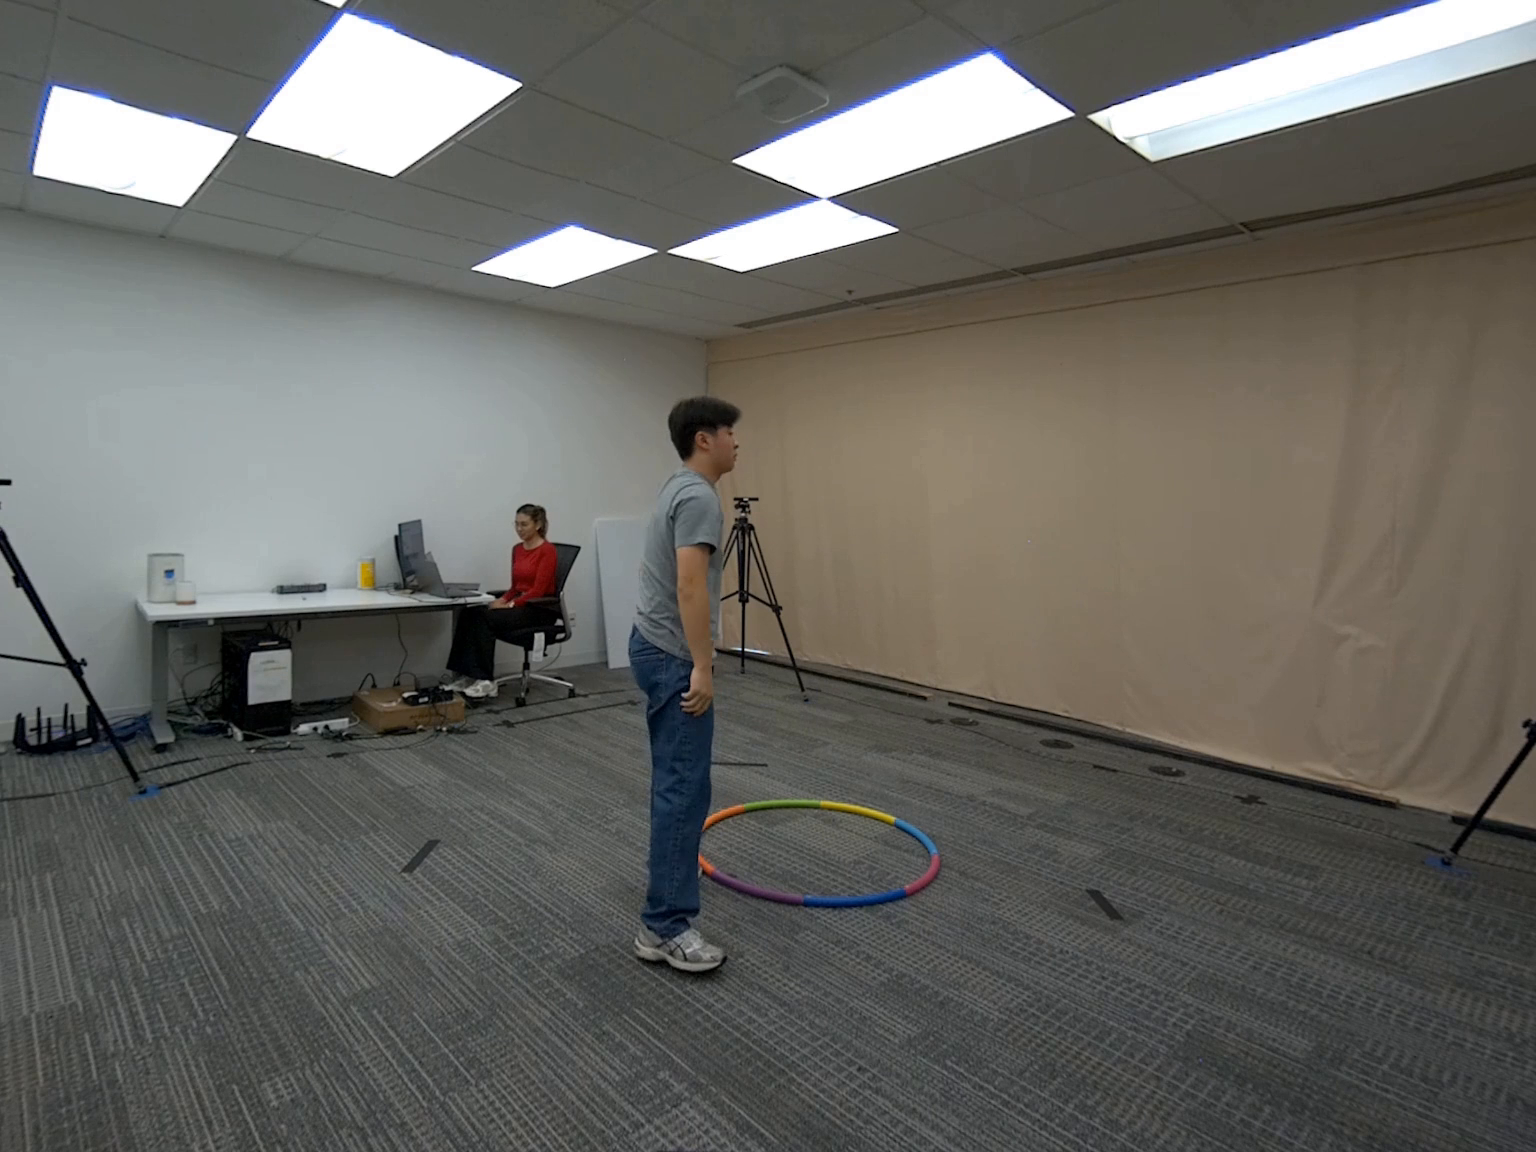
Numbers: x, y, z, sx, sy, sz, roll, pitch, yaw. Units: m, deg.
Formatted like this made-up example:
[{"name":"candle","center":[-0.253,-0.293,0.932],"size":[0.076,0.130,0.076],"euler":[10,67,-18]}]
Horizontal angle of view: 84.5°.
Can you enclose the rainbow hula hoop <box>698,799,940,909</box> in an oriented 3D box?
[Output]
[{"name":"rainbow hula hoop","center":[0.161,1.064,3.357],"size":[0.978,0.035,0.982],"euler":[1,5,-1]}]
